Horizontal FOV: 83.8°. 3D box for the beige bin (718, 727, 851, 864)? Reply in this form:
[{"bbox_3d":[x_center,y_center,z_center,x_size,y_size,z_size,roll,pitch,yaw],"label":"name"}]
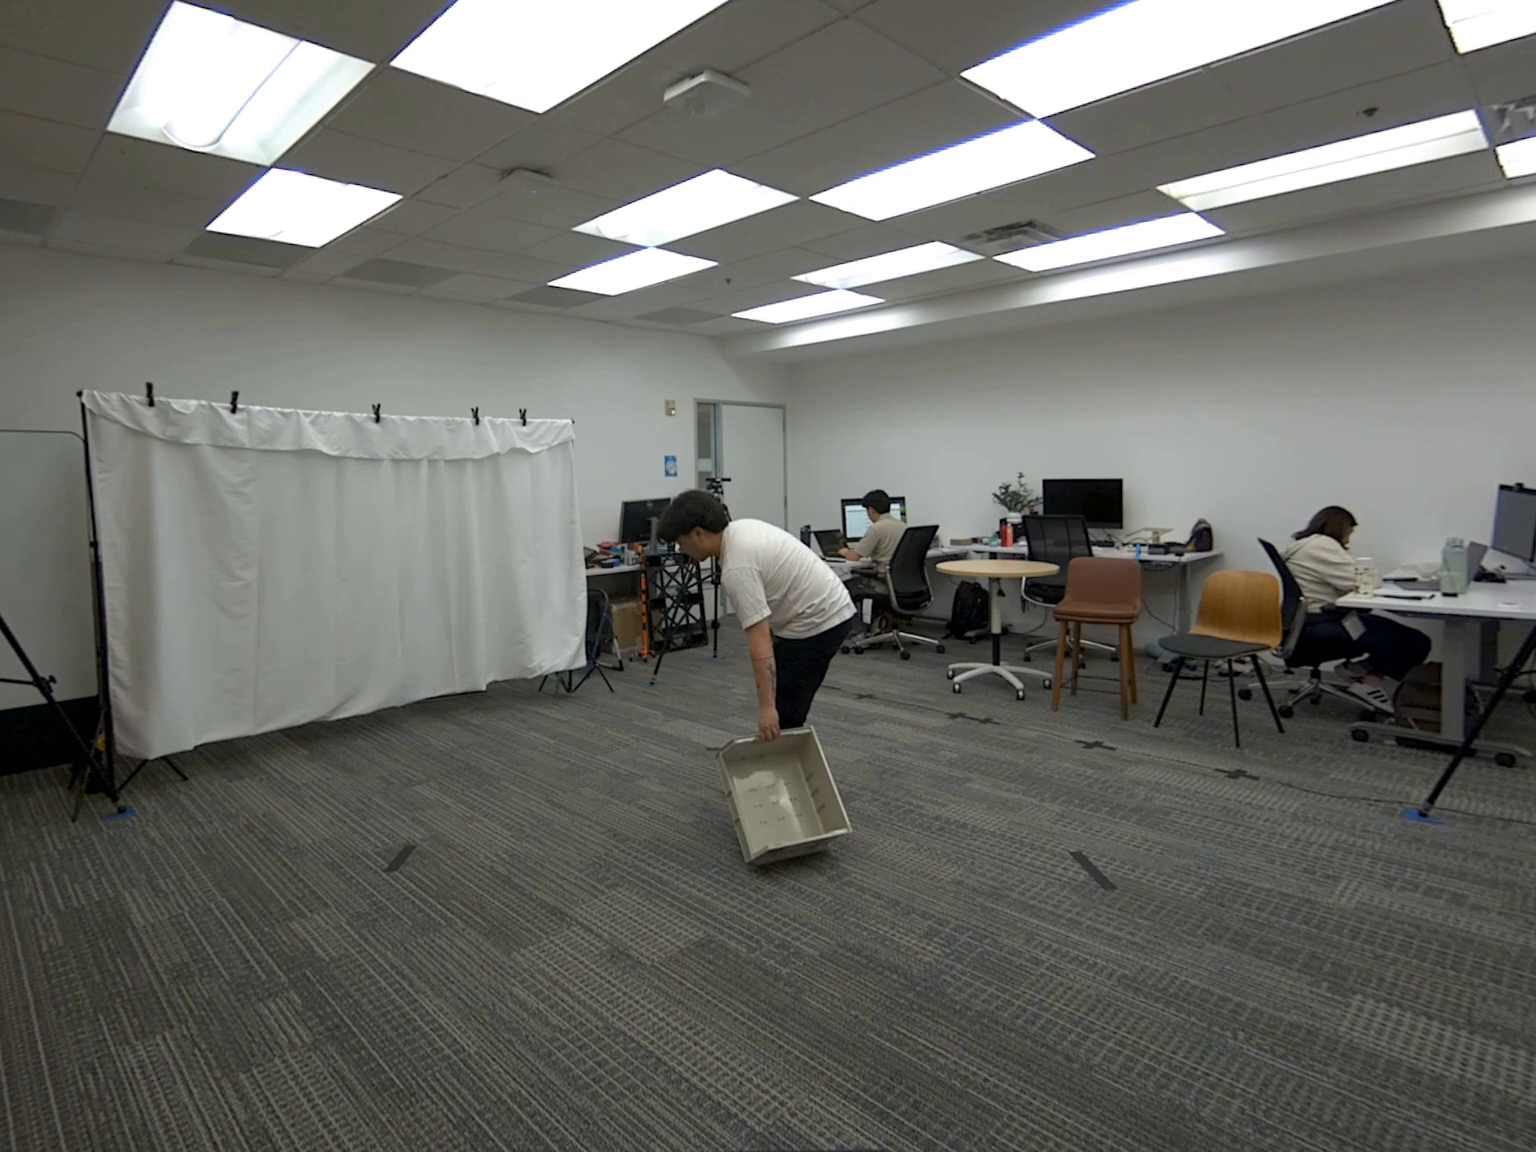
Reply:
[{"bbox_3d":[0.045,0.817,3.186,0.369,0.436,0.187,-3,-38,-26],"label":"beige bin"}]
